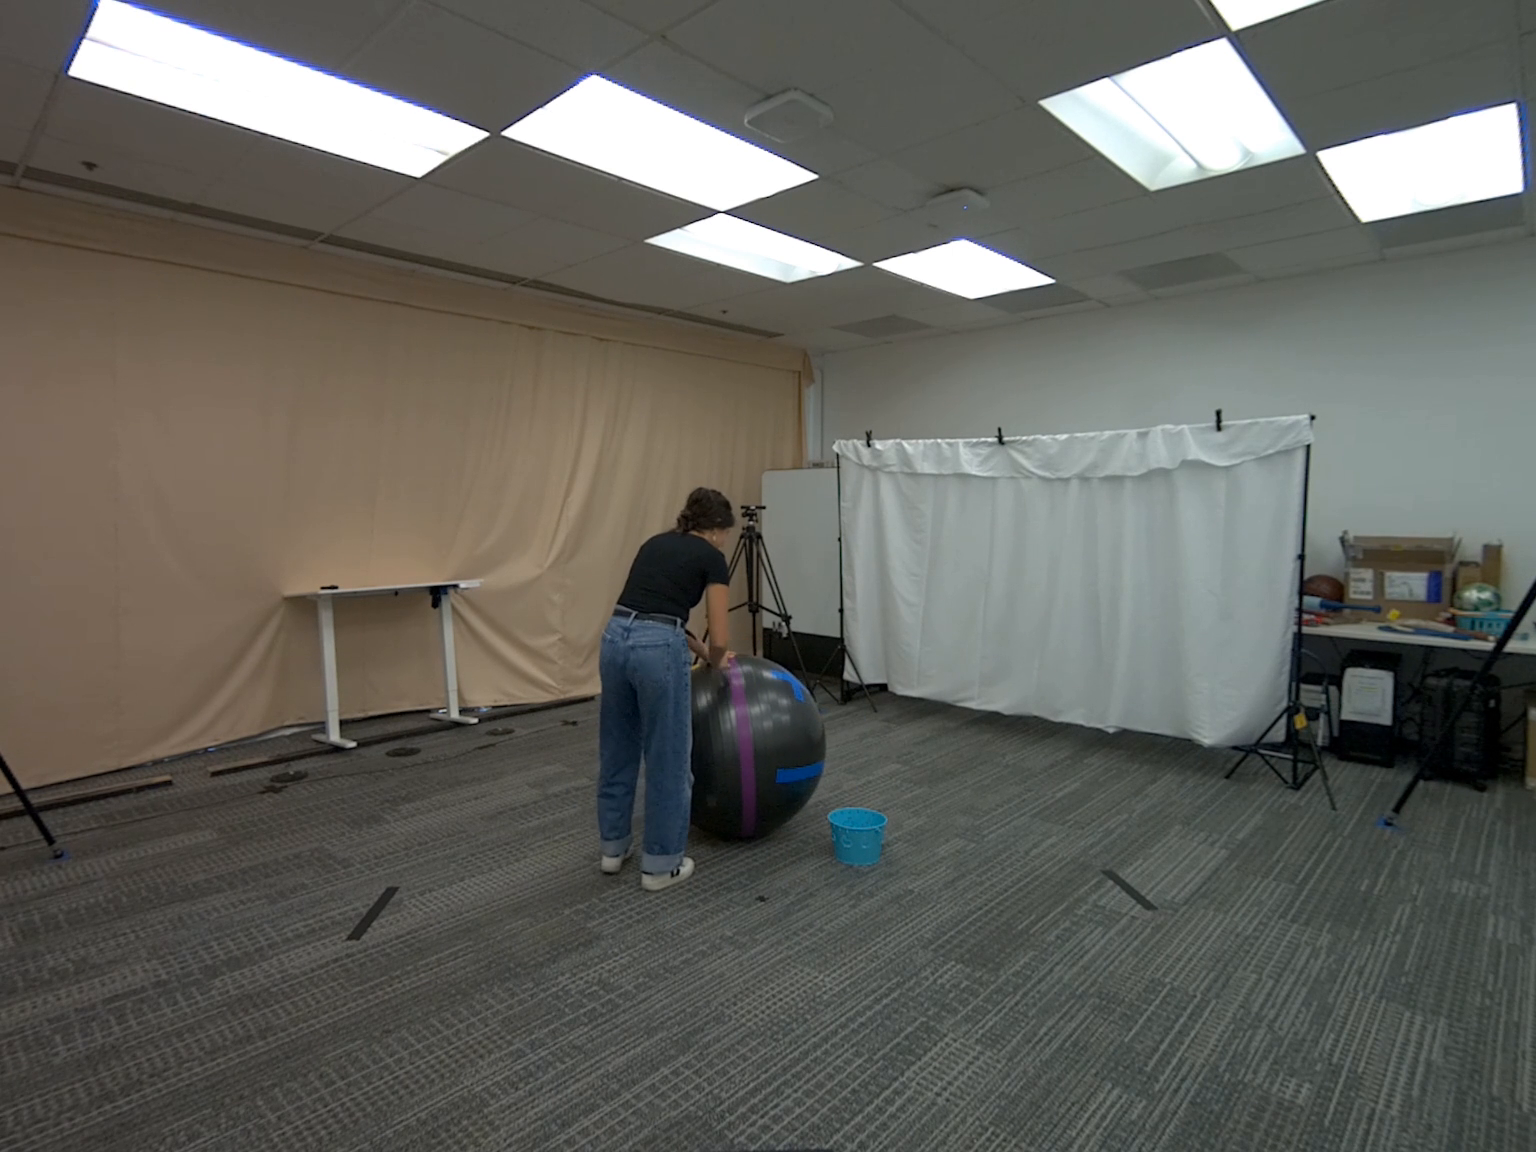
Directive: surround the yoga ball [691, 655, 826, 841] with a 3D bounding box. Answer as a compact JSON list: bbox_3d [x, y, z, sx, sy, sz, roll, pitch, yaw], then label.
[{"bbox_3d":[-0.131,0.717,3.609,0.757,0.756,0.760,0,4,-2],"label":"yoga ball"}]
